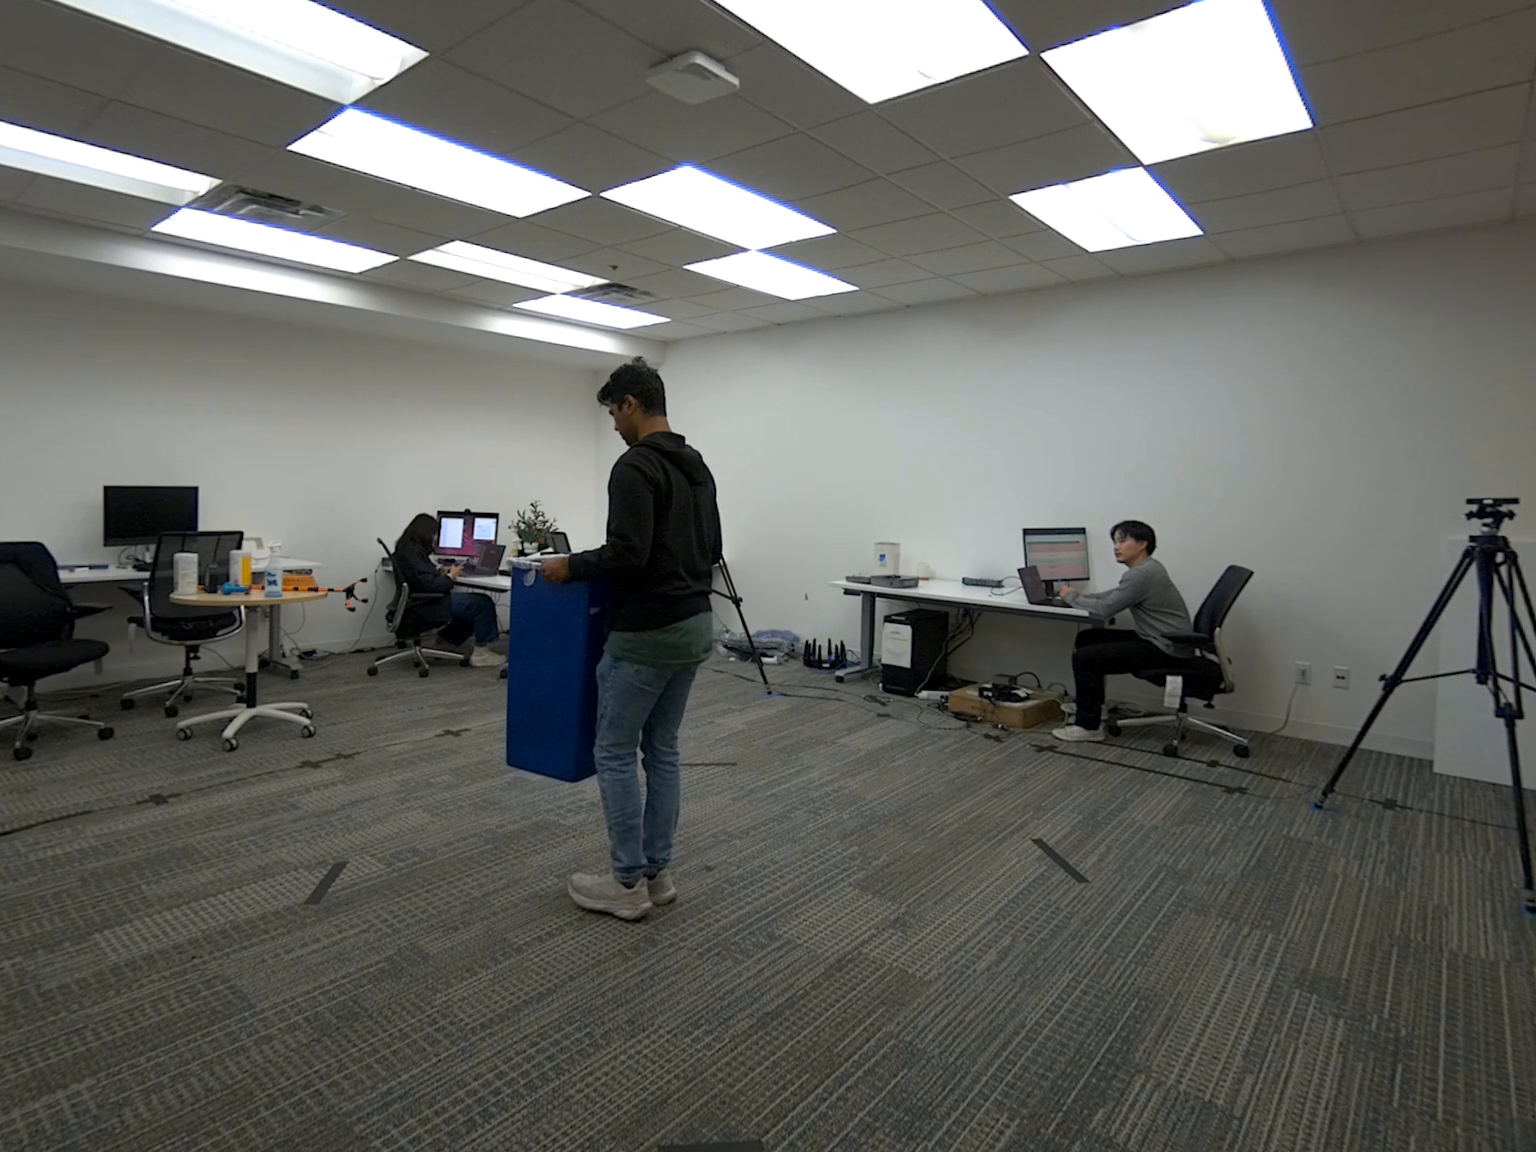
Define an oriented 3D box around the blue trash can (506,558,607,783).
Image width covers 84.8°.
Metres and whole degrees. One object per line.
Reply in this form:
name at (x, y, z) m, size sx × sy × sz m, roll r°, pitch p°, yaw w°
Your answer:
blue trash can at (-0.698, 0.309, 2.983) m, size 0.388 × 0.711 × 0.365 m, roll 6°, pitch 4°, yaw 25°
